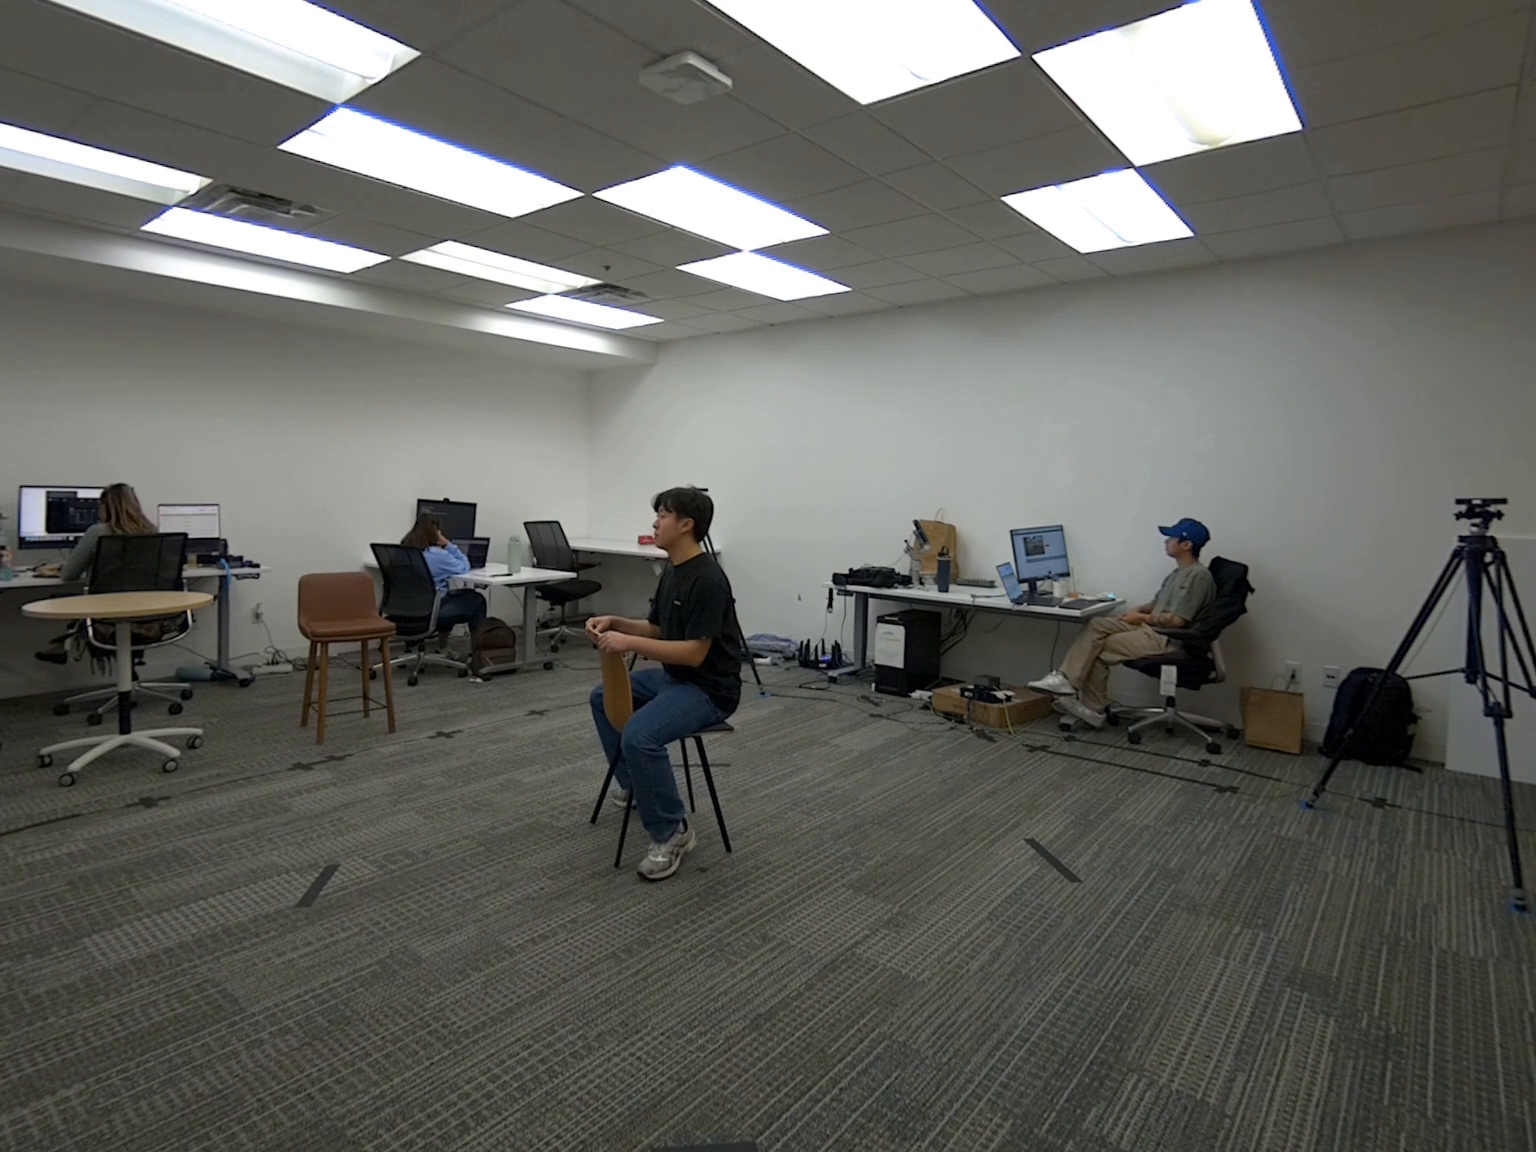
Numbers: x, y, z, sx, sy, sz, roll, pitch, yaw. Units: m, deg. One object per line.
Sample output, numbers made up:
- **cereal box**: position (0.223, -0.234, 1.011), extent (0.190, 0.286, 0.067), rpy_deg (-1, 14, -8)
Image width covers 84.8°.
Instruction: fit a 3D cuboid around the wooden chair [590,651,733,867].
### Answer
- **wooden chair**: position (-0.432, 0.617, 3.368), extent (0.513, 0.874, 0.489), rpy_deg (-3, 4, -21)
